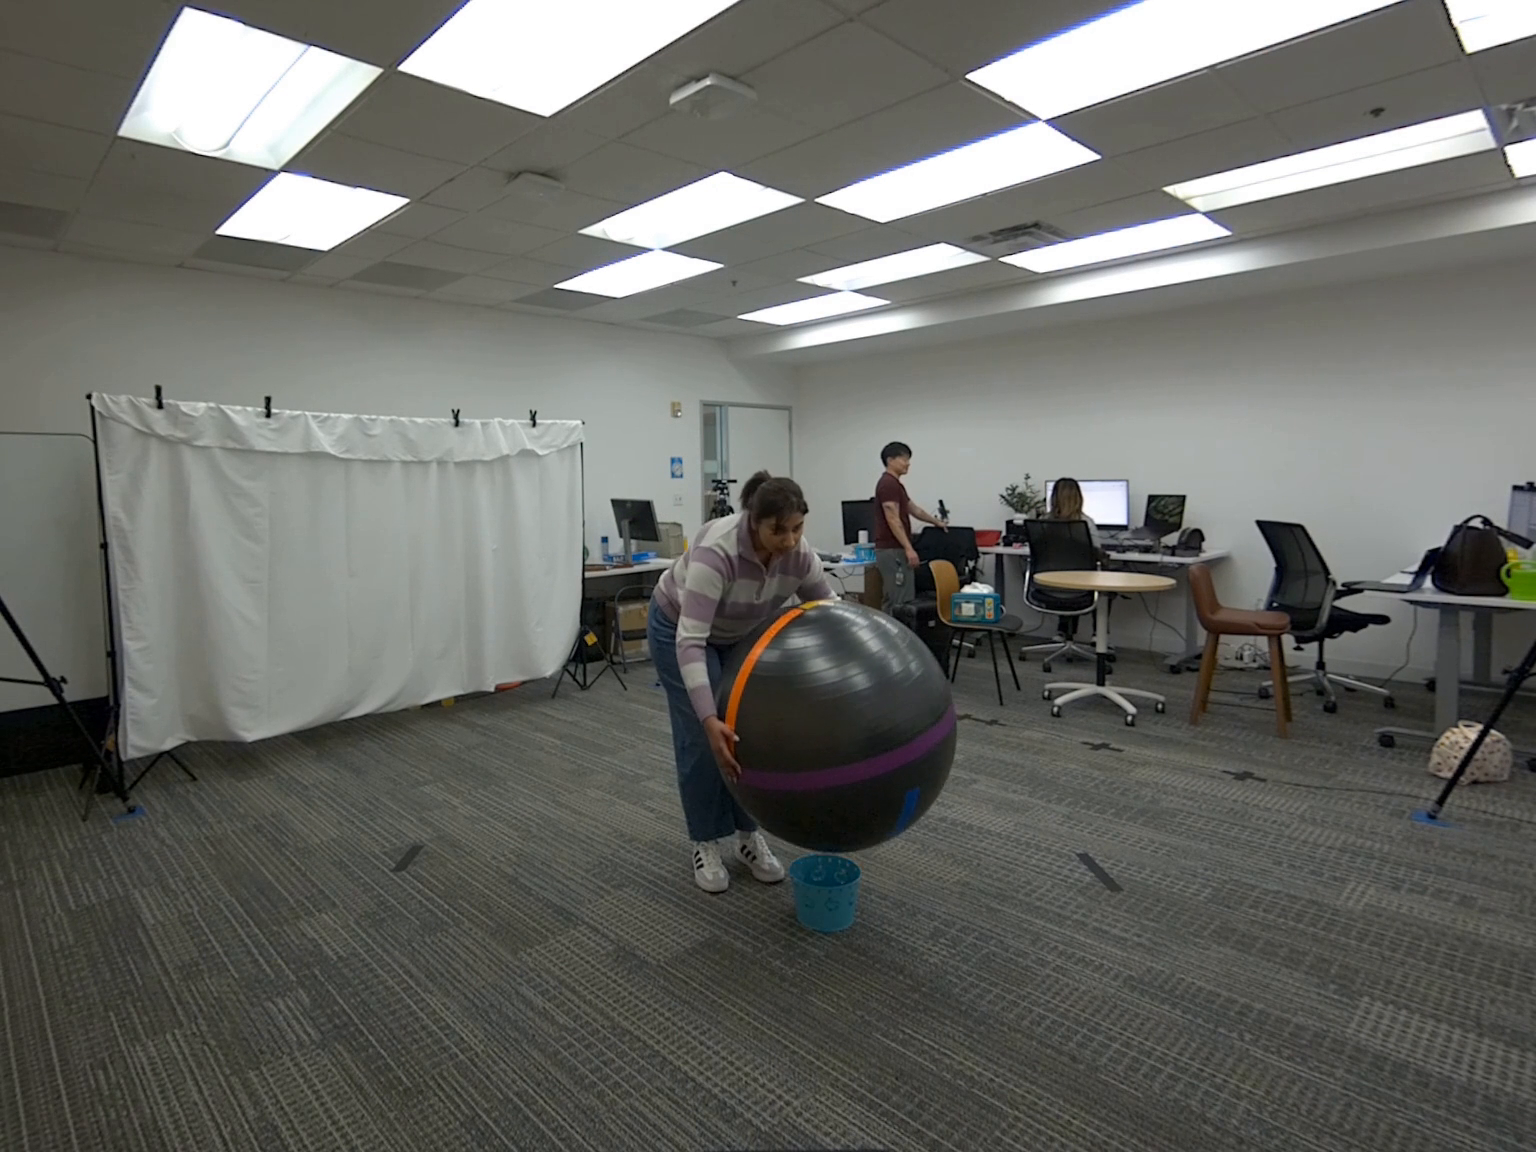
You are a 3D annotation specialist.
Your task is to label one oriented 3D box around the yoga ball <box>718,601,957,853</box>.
[{"bbox_3d":[0.203,0.450,2.657,0.757,0.755,0.762,-1,5,-2],"label":"yoga ball"}]
